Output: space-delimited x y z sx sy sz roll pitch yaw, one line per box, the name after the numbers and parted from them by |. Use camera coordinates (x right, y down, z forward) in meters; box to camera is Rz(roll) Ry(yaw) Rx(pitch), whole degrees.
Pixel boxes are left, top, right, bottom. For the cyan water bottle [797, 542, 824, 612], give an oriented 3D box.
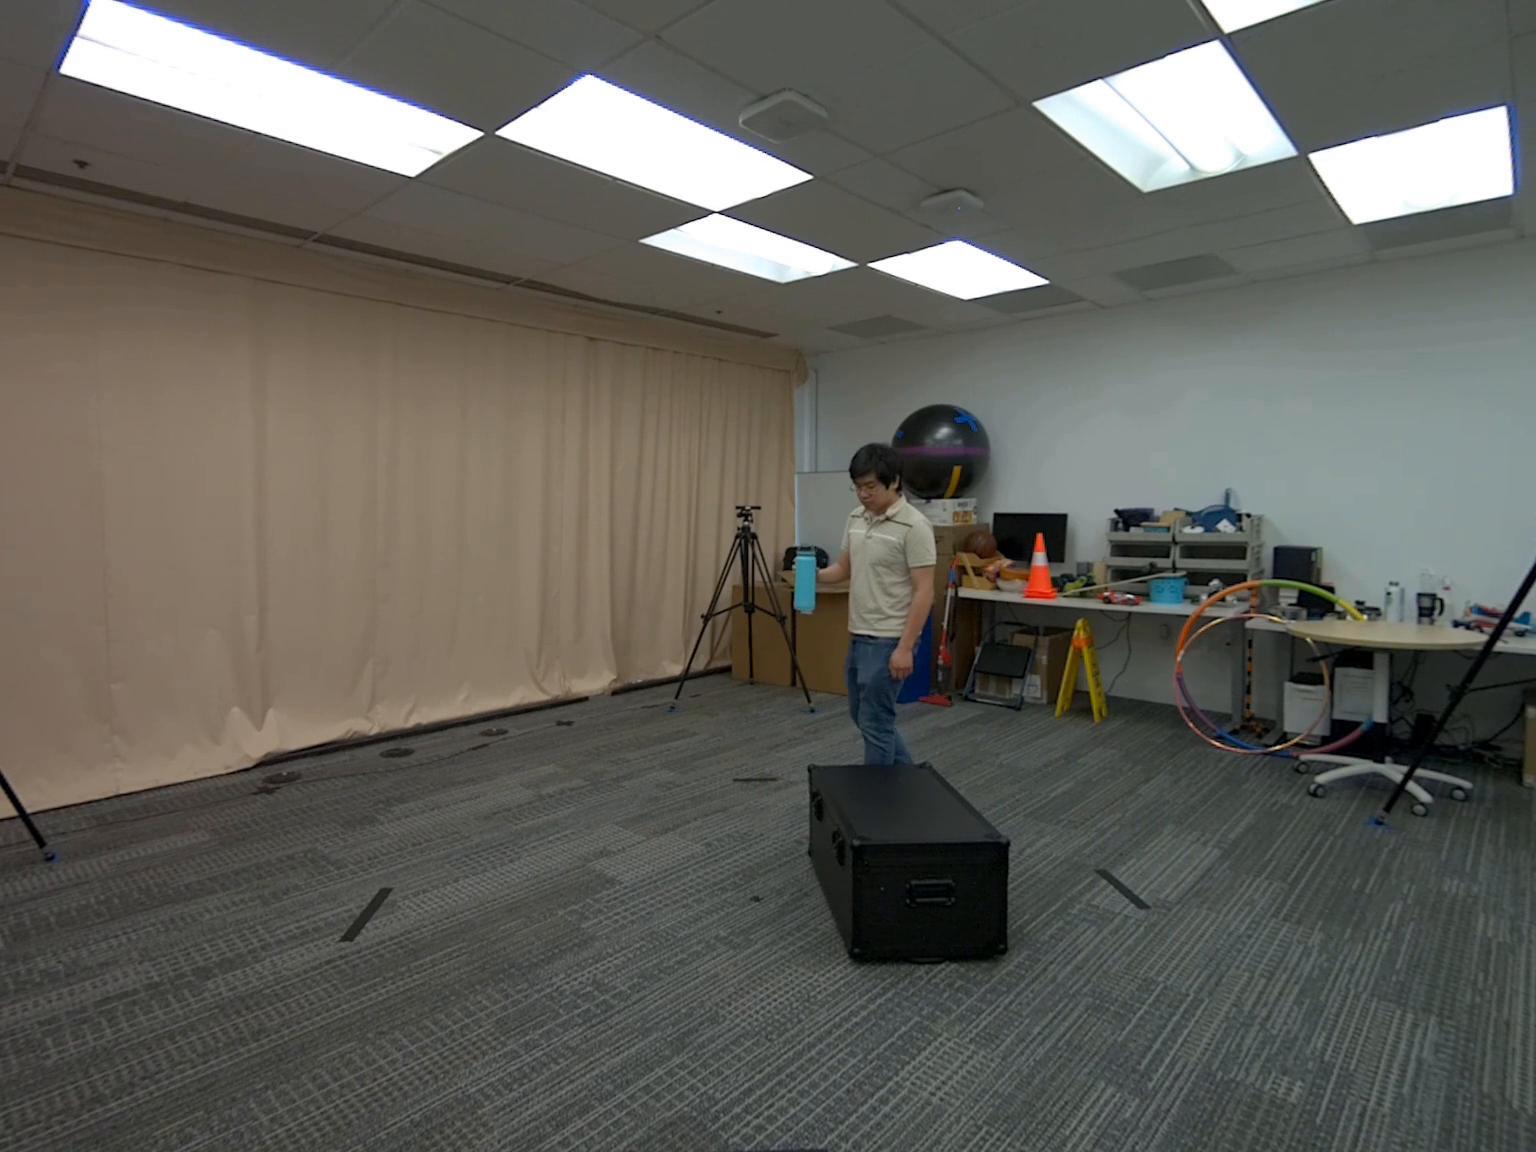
0.176 -0.001 3.585 0.092 0.283 0.092 -2 2 -2 | cyan water bottle
